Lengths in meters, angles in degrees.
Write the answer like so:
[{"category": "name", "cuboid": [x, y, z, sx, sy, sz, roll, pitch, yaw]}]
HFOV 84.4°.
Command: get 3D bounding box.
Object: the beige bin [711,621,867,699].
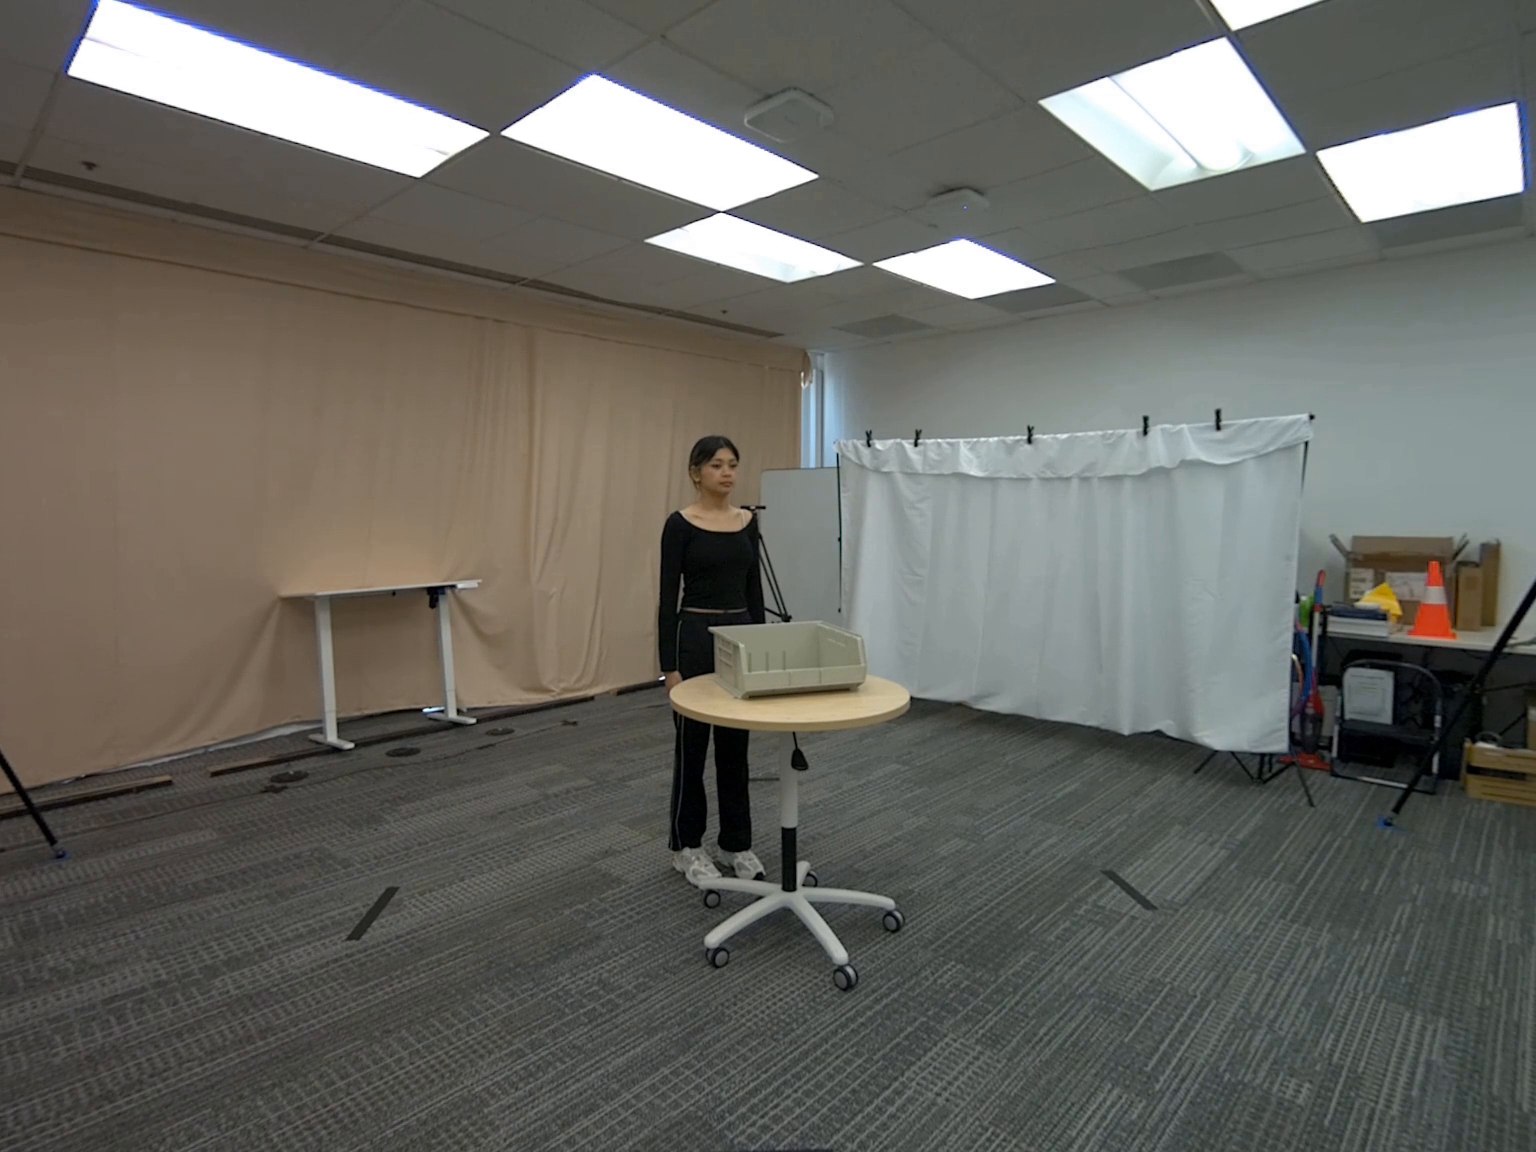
[{"category": "beige bin", "cuboid": [0.062, 0.277, 2.795, 0.415, 0.188, 0.385, -3, 5, -18]}]
